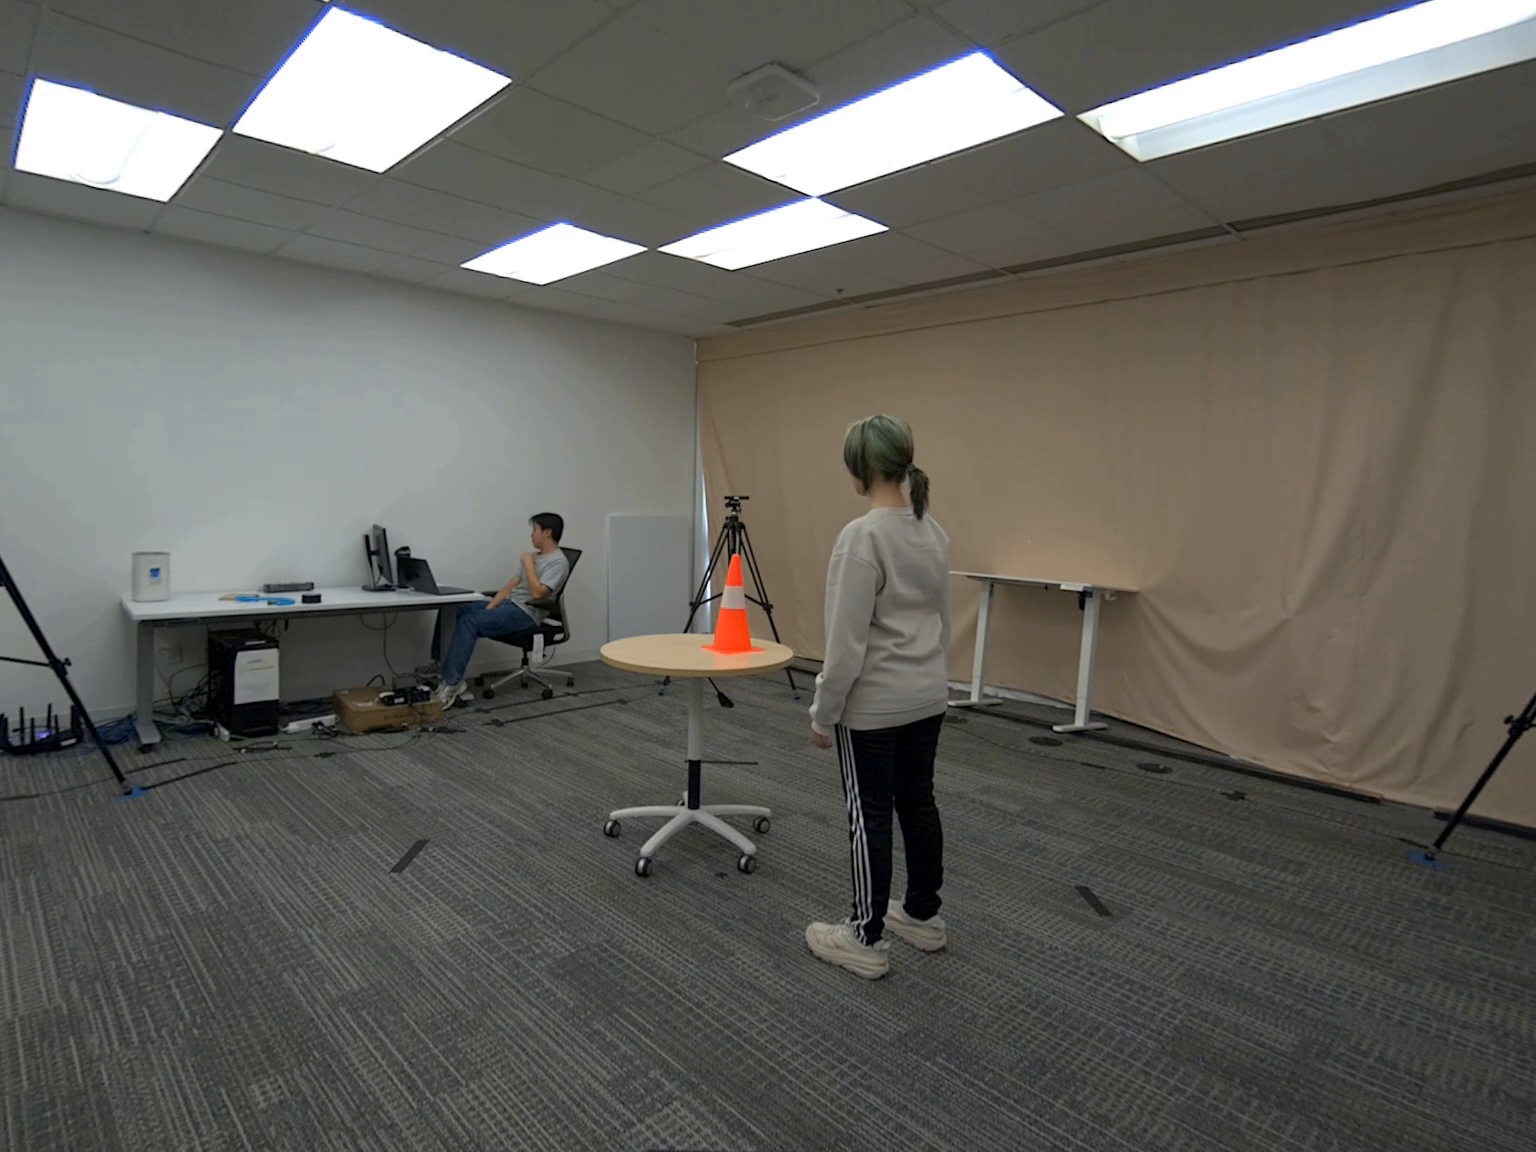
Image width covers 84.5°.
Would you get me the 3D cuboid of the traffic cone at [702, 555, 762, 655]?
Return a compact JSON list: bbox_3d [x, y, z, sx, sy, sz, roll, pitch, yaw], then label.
[{"bbox_3d":[-0.141,0.107,3.390,0.200,0.383,0.208,0,3,-45],"label":"traffic cone"}]
